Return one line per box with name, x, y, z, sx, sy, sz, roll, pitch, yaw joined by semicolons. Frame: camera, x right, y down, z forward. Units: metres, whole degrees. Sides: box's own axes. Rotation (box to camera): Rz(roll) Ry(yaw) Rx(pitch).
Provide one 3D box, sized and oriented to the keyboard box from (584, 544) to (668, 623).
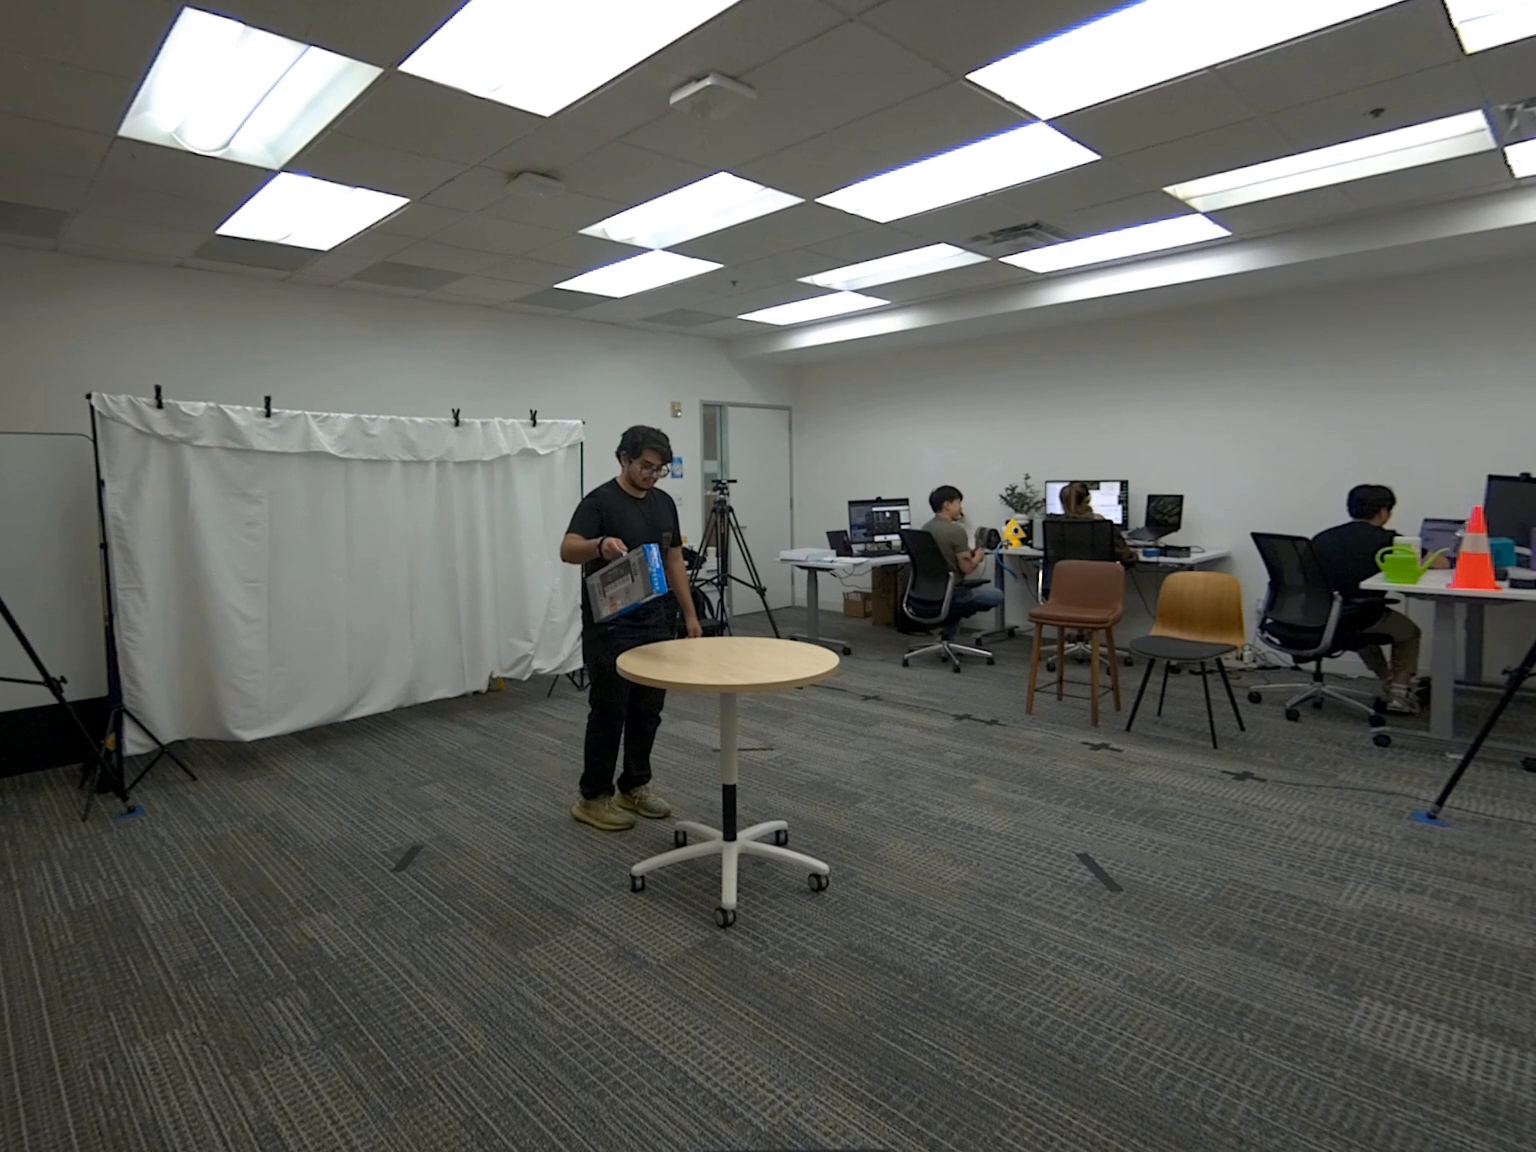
keyboard box;-0.512;0.044;3.018;0.057;0.178;0.443;-2;-14;-38
